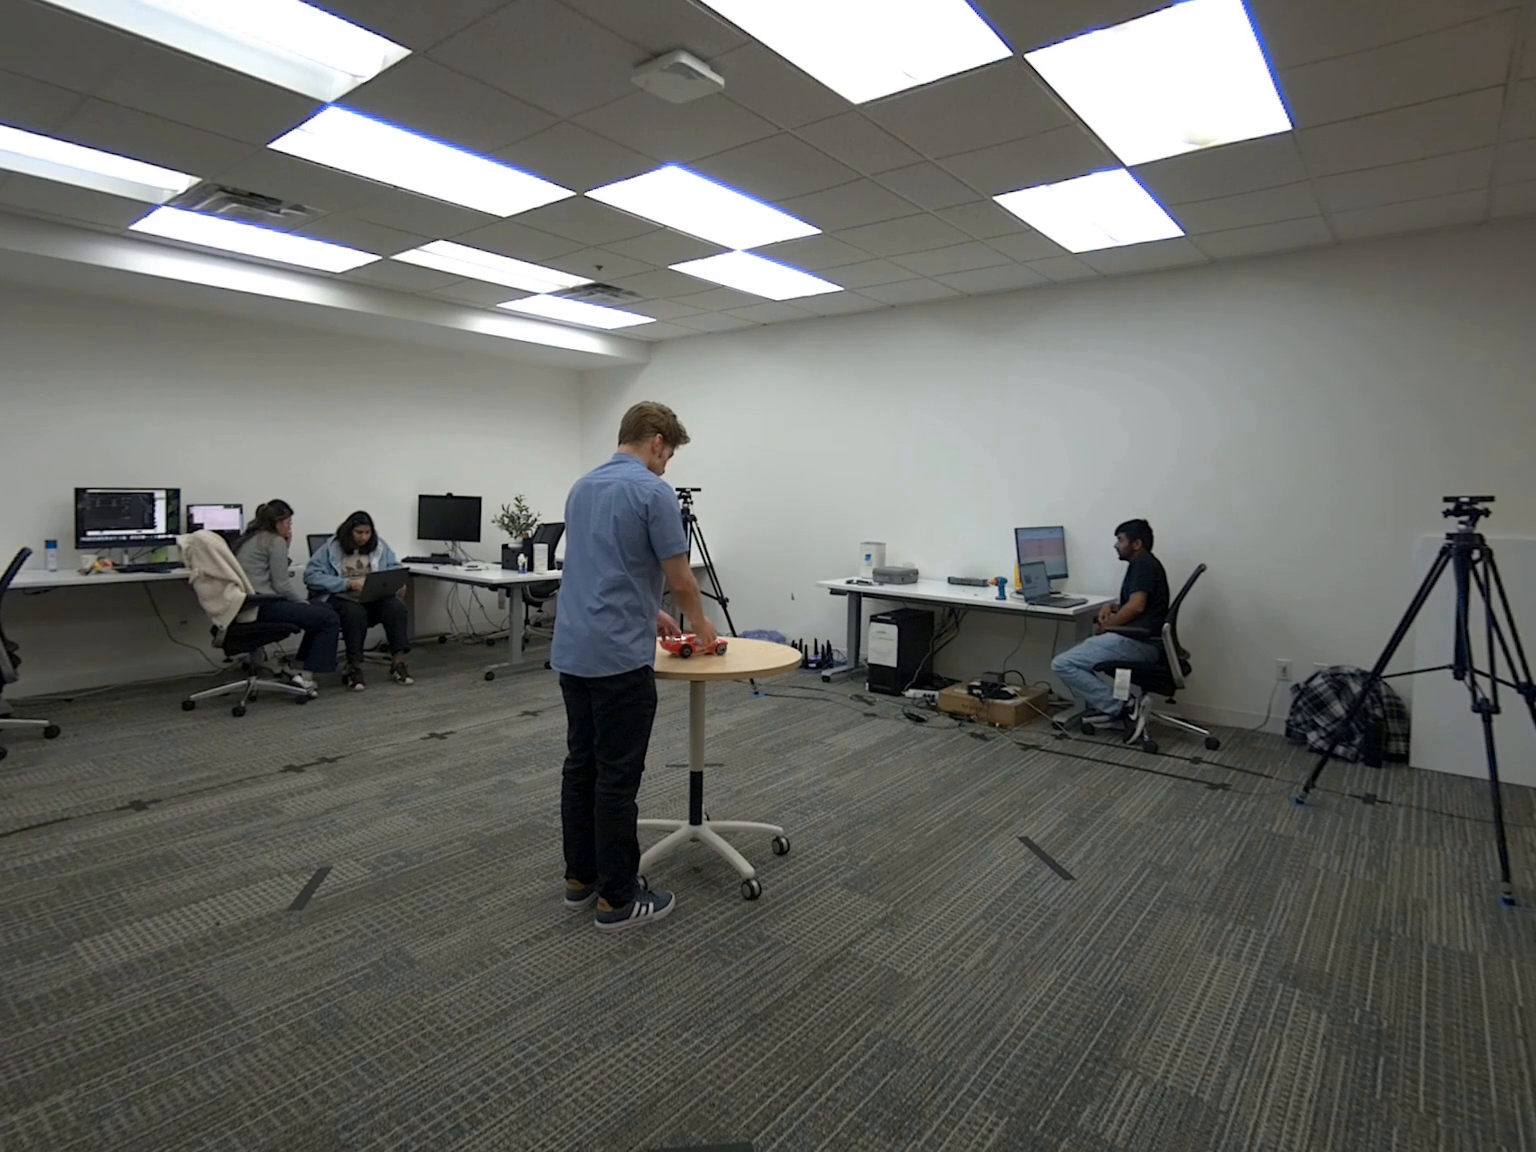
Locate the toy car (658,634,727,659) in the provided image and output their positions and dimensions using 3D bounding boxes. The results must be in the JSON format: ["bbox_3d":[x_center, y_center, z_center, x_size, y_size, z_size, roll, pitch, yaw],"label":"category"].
[{"bbox_3d":[-0.282,0.253,3.094,0.247,0.083,0.134,10,-2,-29],"label":"toy car"}]
